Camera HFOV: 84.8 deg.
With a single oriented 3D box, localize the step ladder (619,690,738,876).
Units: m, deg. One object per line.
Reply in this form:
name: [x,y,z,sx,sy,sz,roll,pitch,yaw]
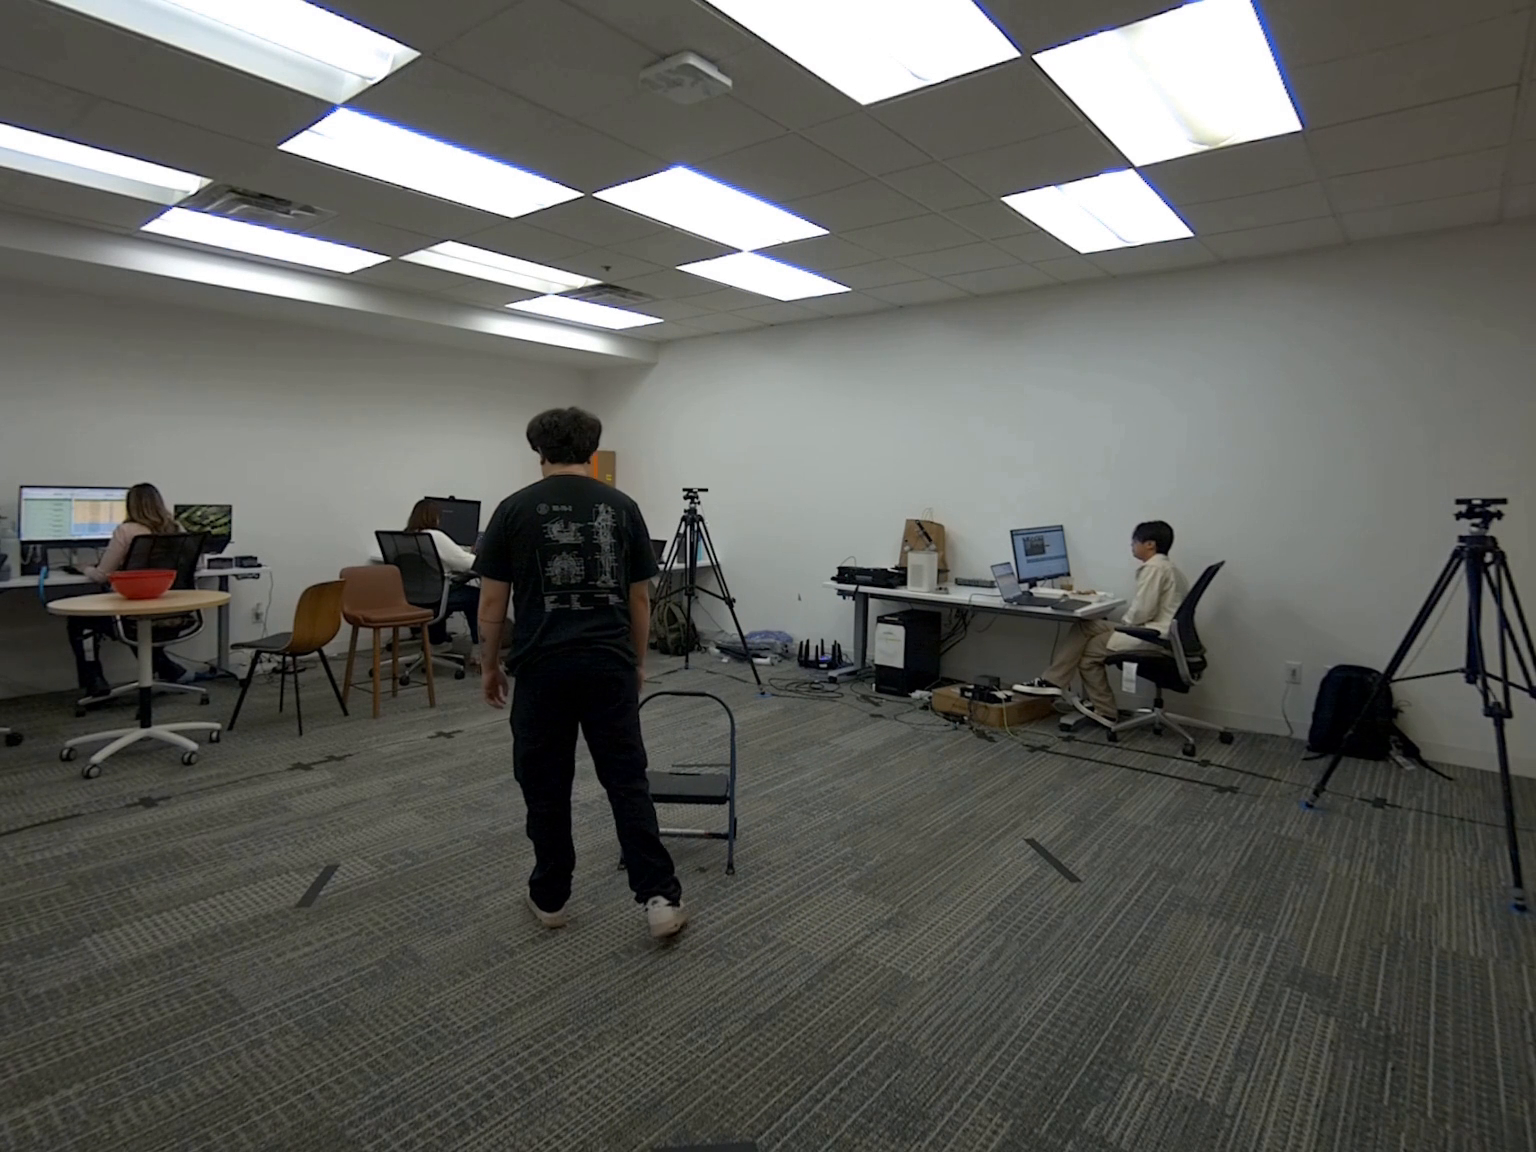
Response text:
step ladder: [-0.334,0.756,3.243,0.432,0.604,0.349,1,4,2]
